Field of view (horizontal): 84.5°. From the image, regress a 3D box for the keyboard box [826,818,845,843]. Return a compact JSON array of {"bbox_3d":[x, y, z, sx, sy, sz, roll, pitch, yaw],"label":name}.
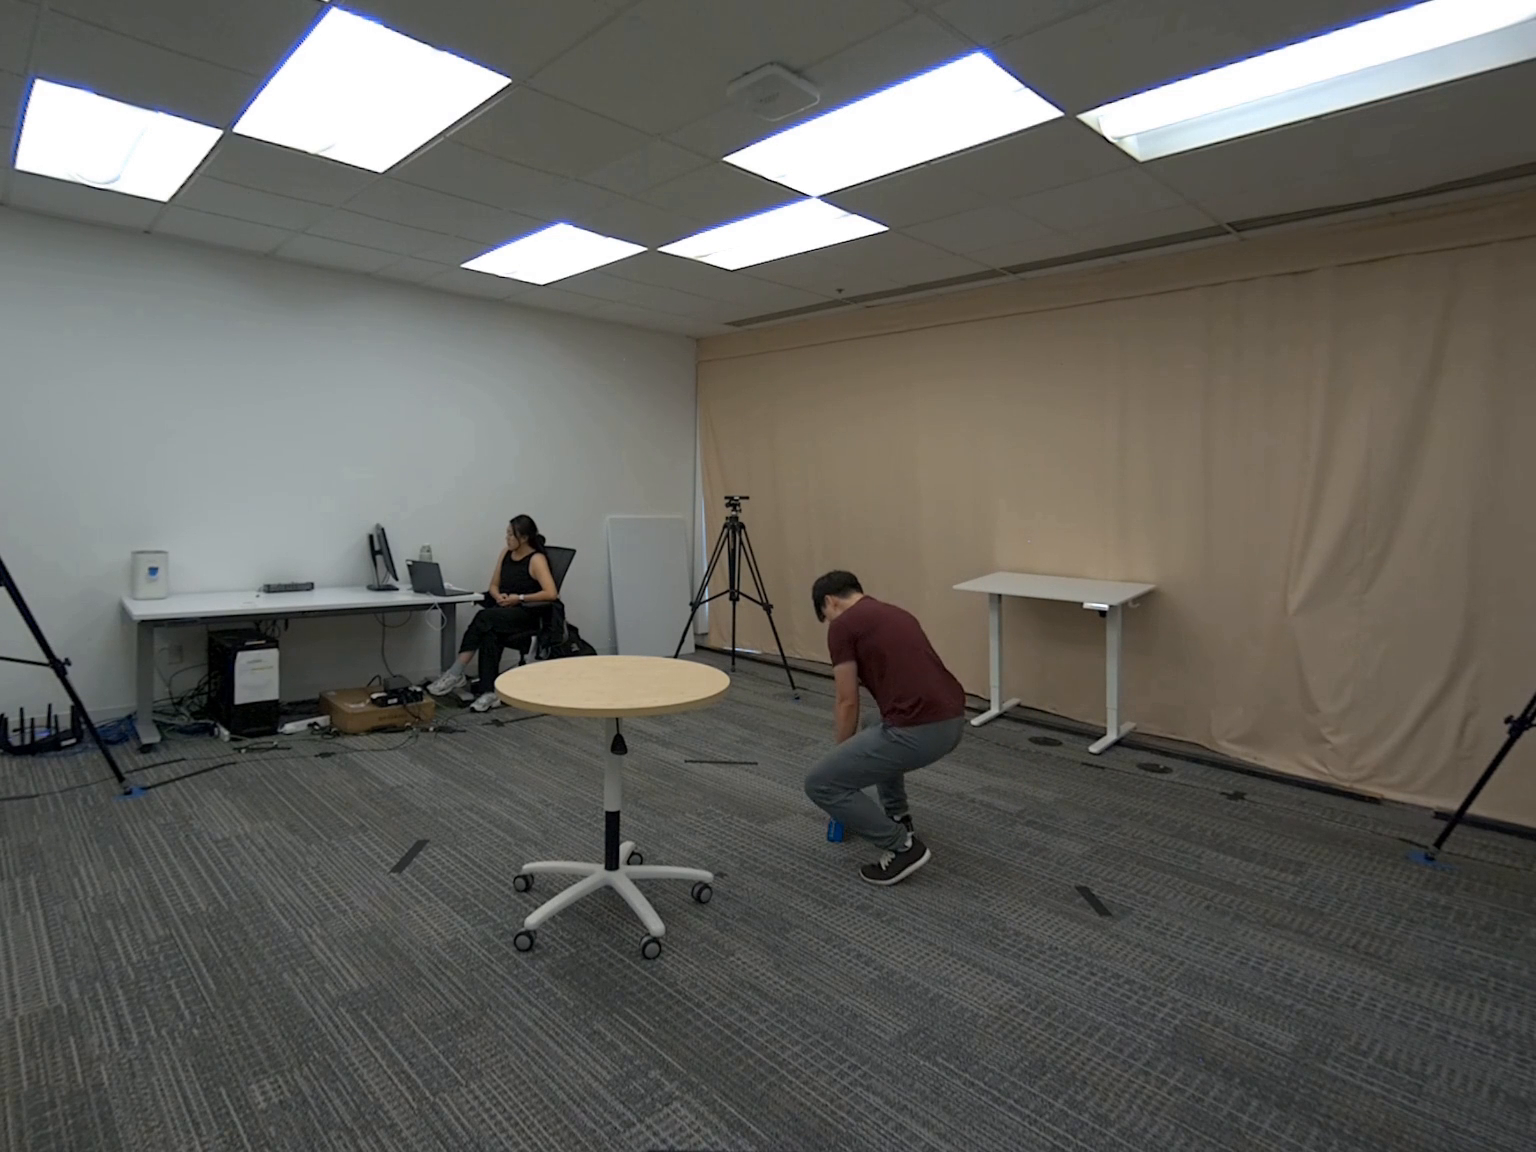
[{"bbox_3d":[0.312,0.985,3.644,0.059,0.175,0.435,10,5,6],"label":"keyboard box"}]
